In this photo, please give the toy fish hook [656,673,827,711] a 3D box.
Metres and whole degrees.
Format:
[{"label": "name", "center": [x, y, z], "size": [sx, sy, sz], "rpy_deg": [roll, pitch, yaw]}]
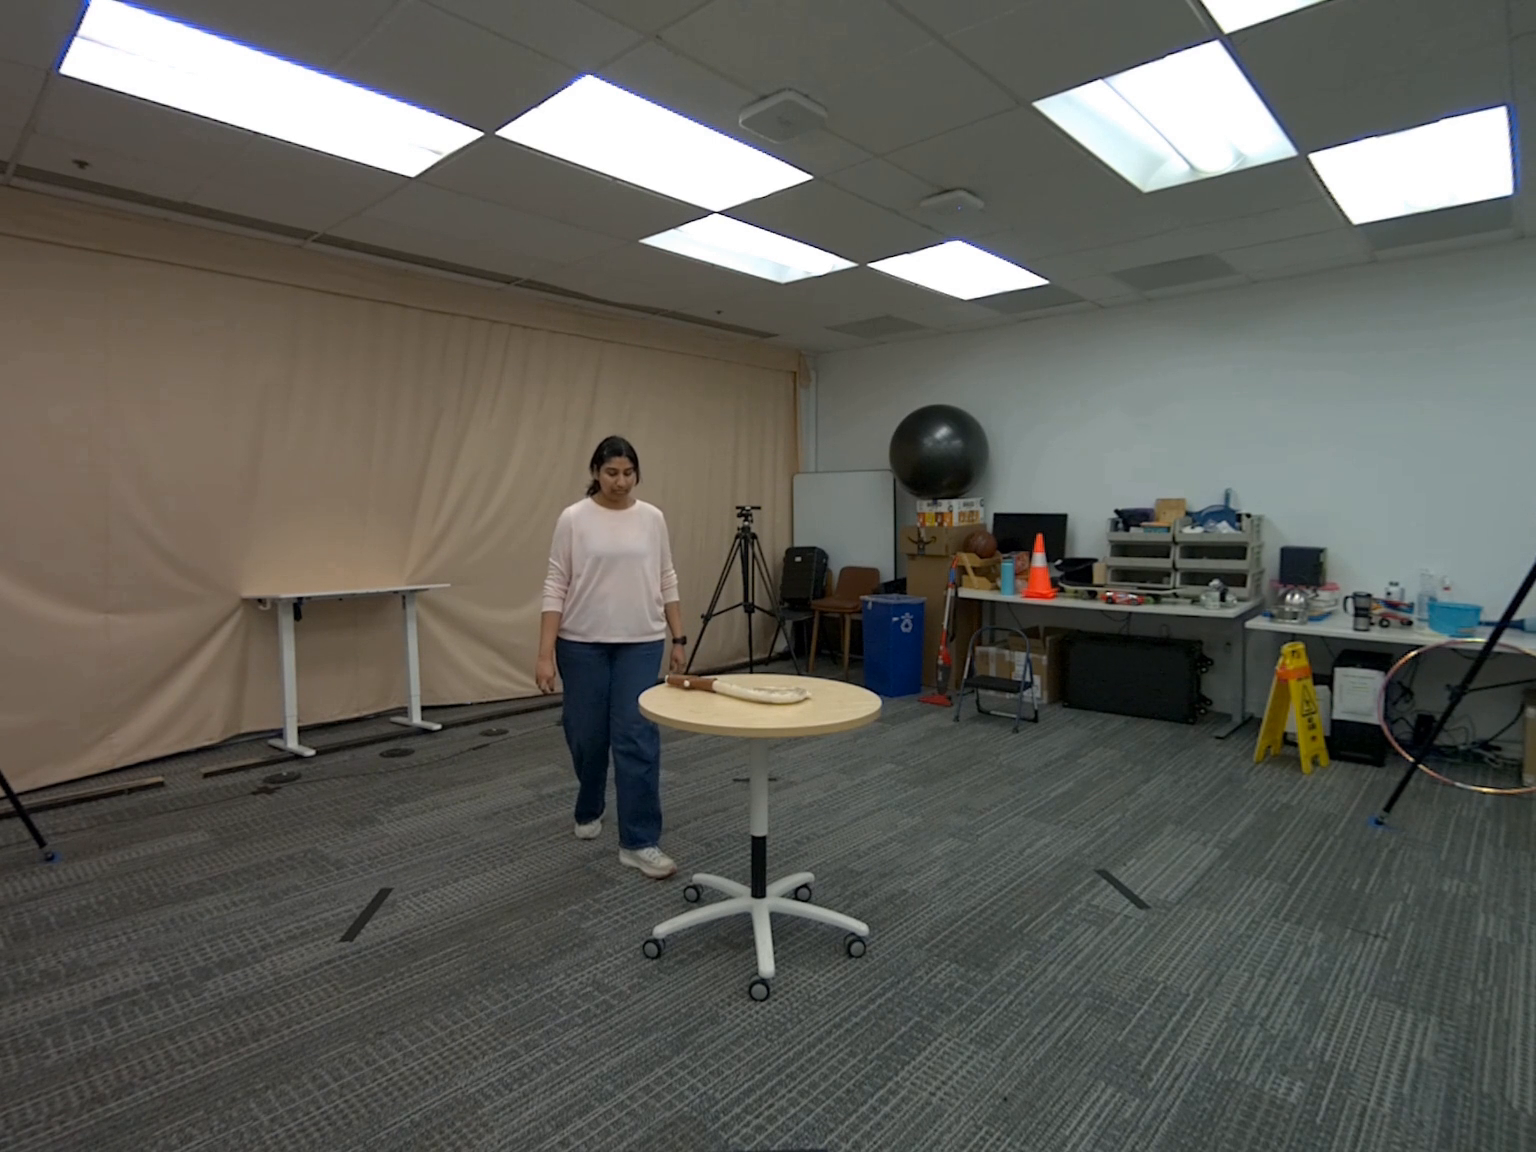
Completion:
[{"label": "toy fish hook", "center": [-0.093, 0.370, 2.745], "size": [0.522, 0.048, 0.217], "rpy_deg": [4, -4, 33]}]
